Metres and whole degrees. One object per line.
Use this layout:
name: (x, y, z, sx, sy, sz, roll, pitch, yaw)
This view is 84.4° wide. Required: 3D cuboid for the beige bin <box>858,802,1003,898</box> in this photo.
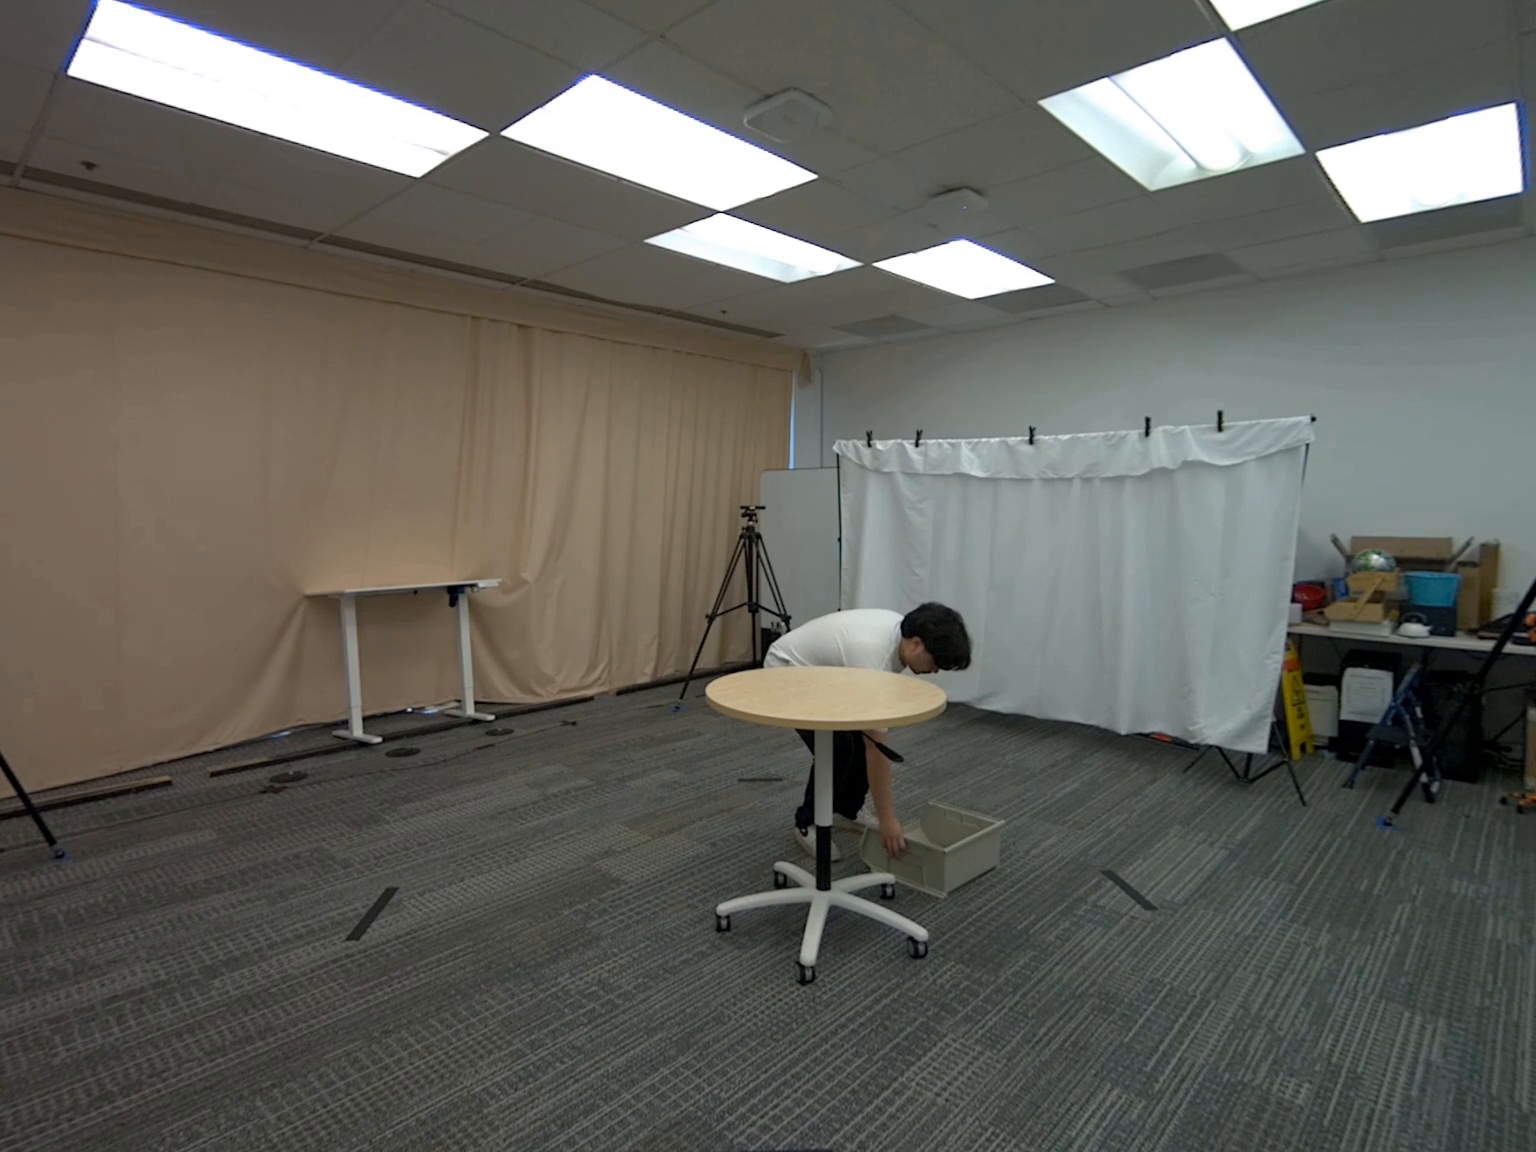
beige bin: (0.635, 1.030, 3.235, 0.390, 0.188, 0.409, 6, 8, 44)
